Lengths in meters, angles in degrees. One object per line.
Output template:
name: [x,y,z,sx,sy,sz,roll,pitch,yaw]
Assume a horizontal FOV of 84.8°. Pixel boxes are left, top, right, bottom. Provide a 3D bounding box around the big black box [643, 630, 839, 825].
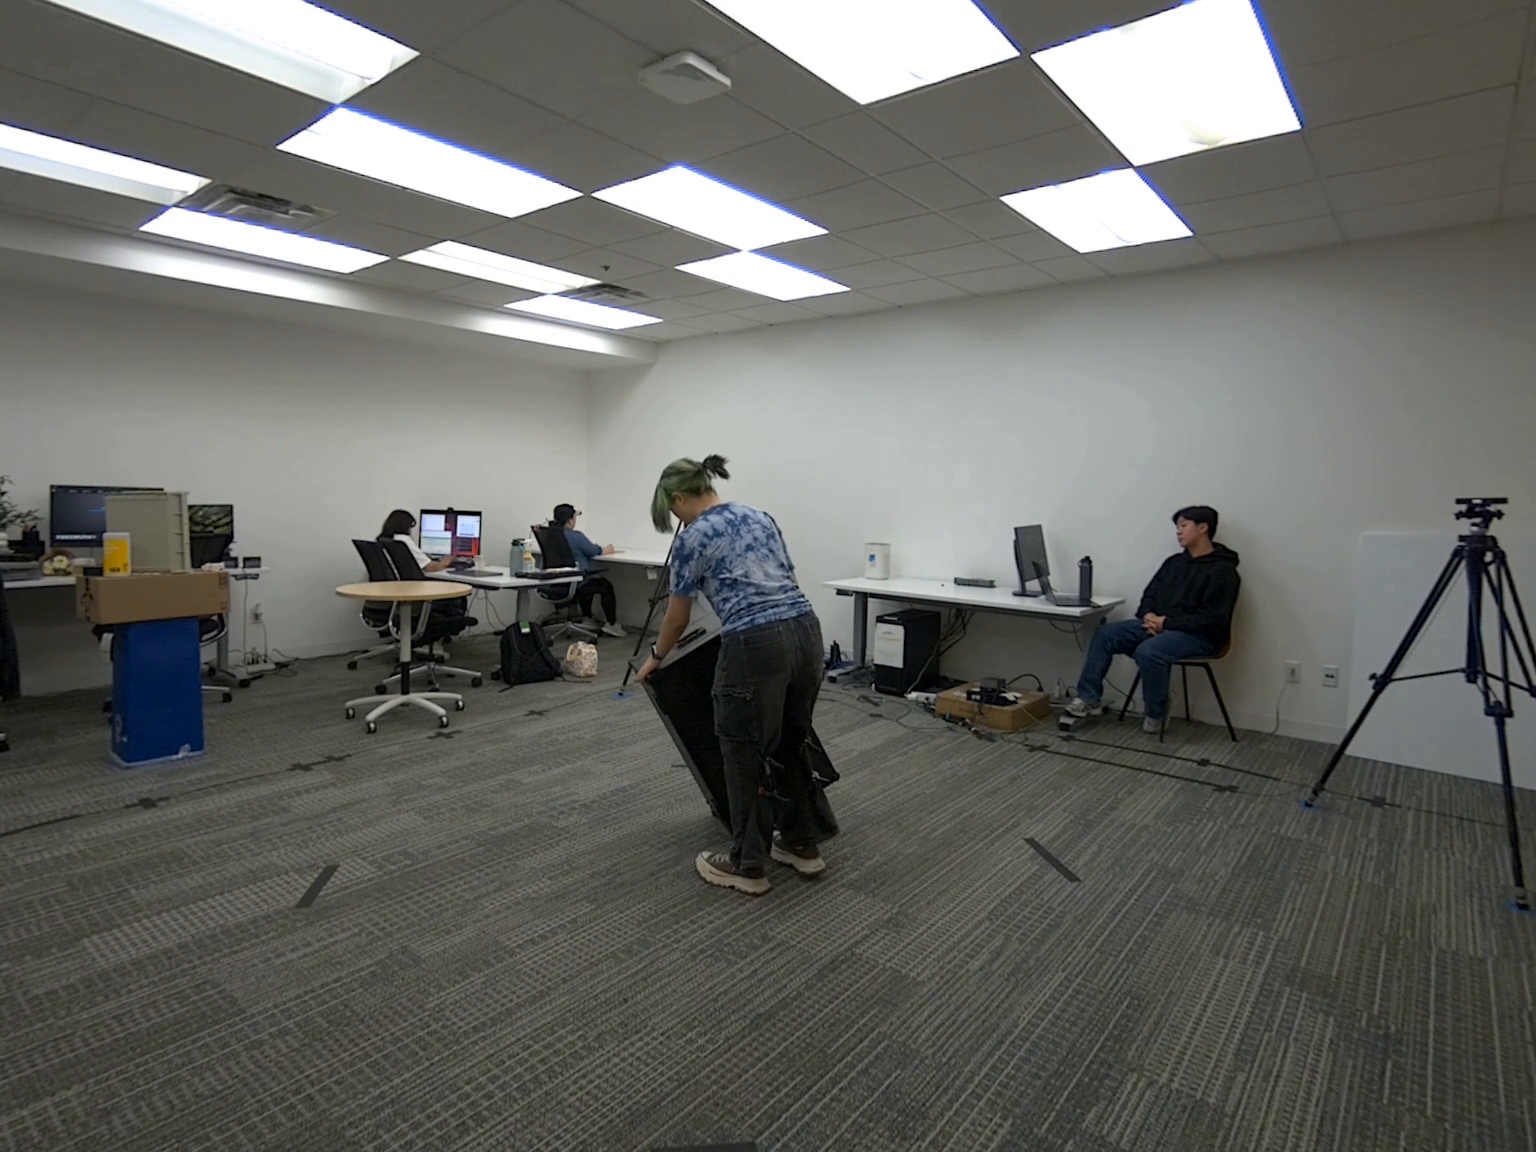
big black box: [-0.146,0.607,3.473,0.518,0.851,0.403,-31,9,-15]
